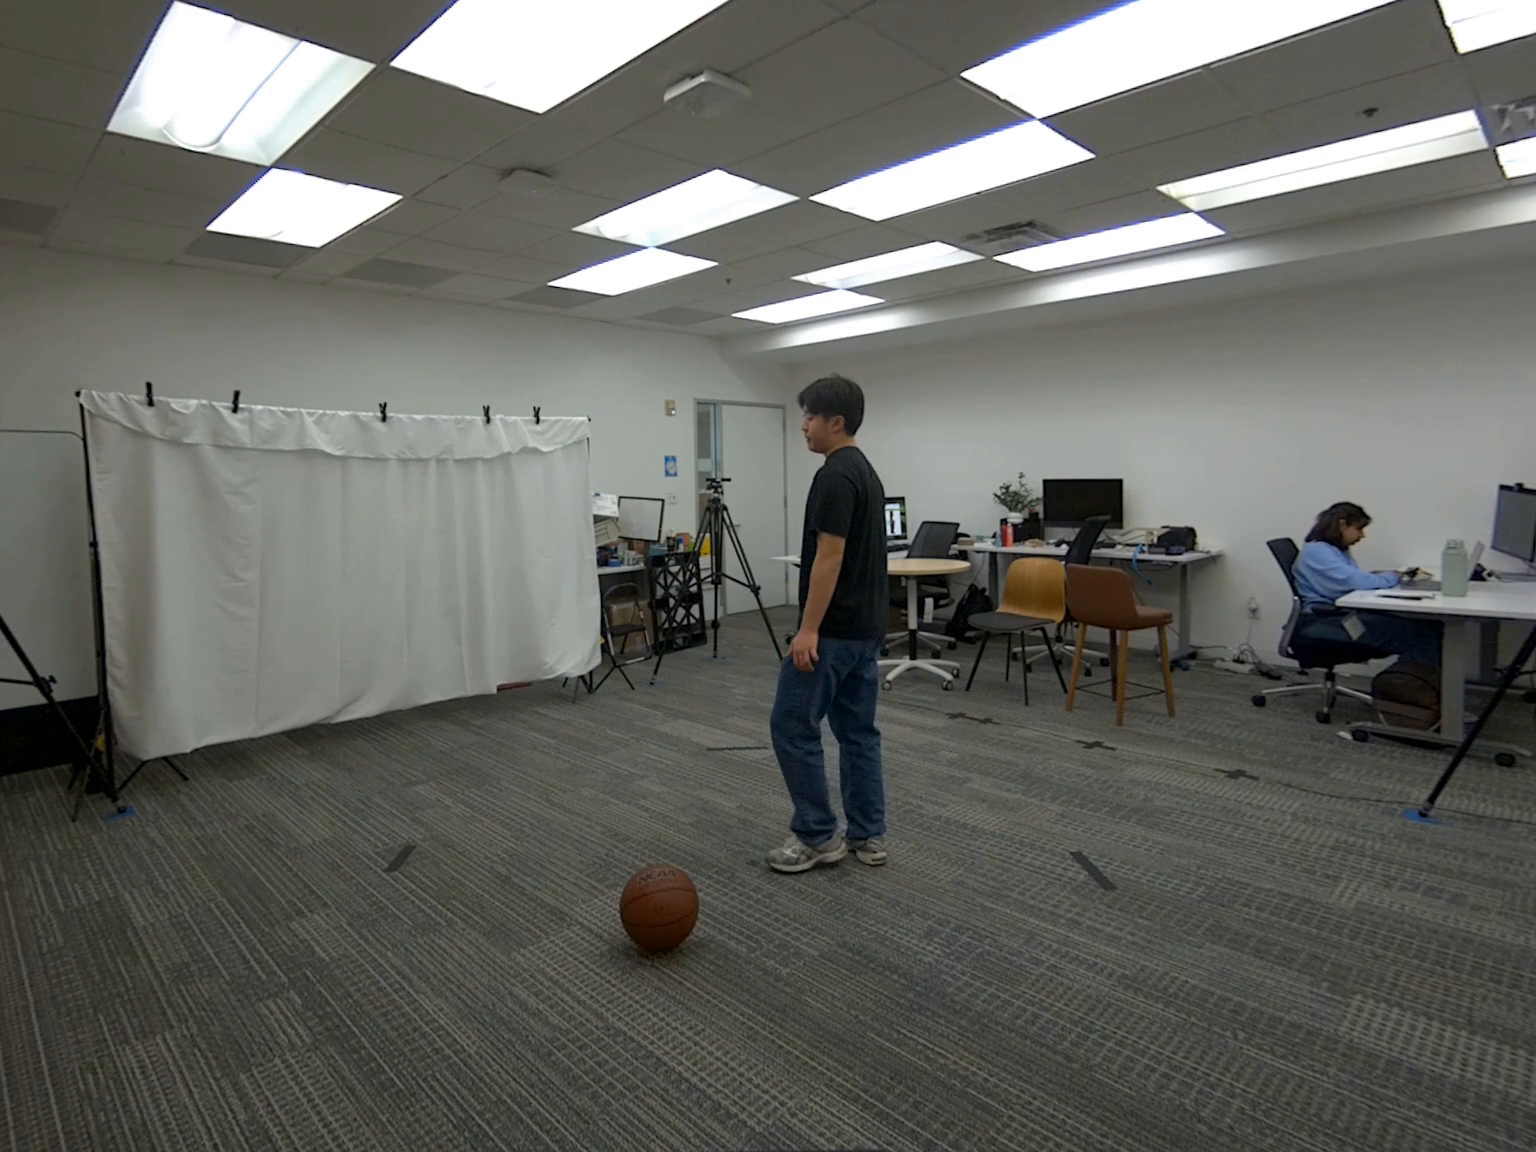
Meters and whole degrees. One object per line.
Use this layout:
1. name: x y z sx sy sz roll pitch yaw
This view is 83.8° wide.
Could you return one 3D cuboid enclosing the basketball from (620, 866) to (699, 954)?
1. basketball: -0.321 0.987 2.564 0.236 0.235 0.237 -1 5 -2
